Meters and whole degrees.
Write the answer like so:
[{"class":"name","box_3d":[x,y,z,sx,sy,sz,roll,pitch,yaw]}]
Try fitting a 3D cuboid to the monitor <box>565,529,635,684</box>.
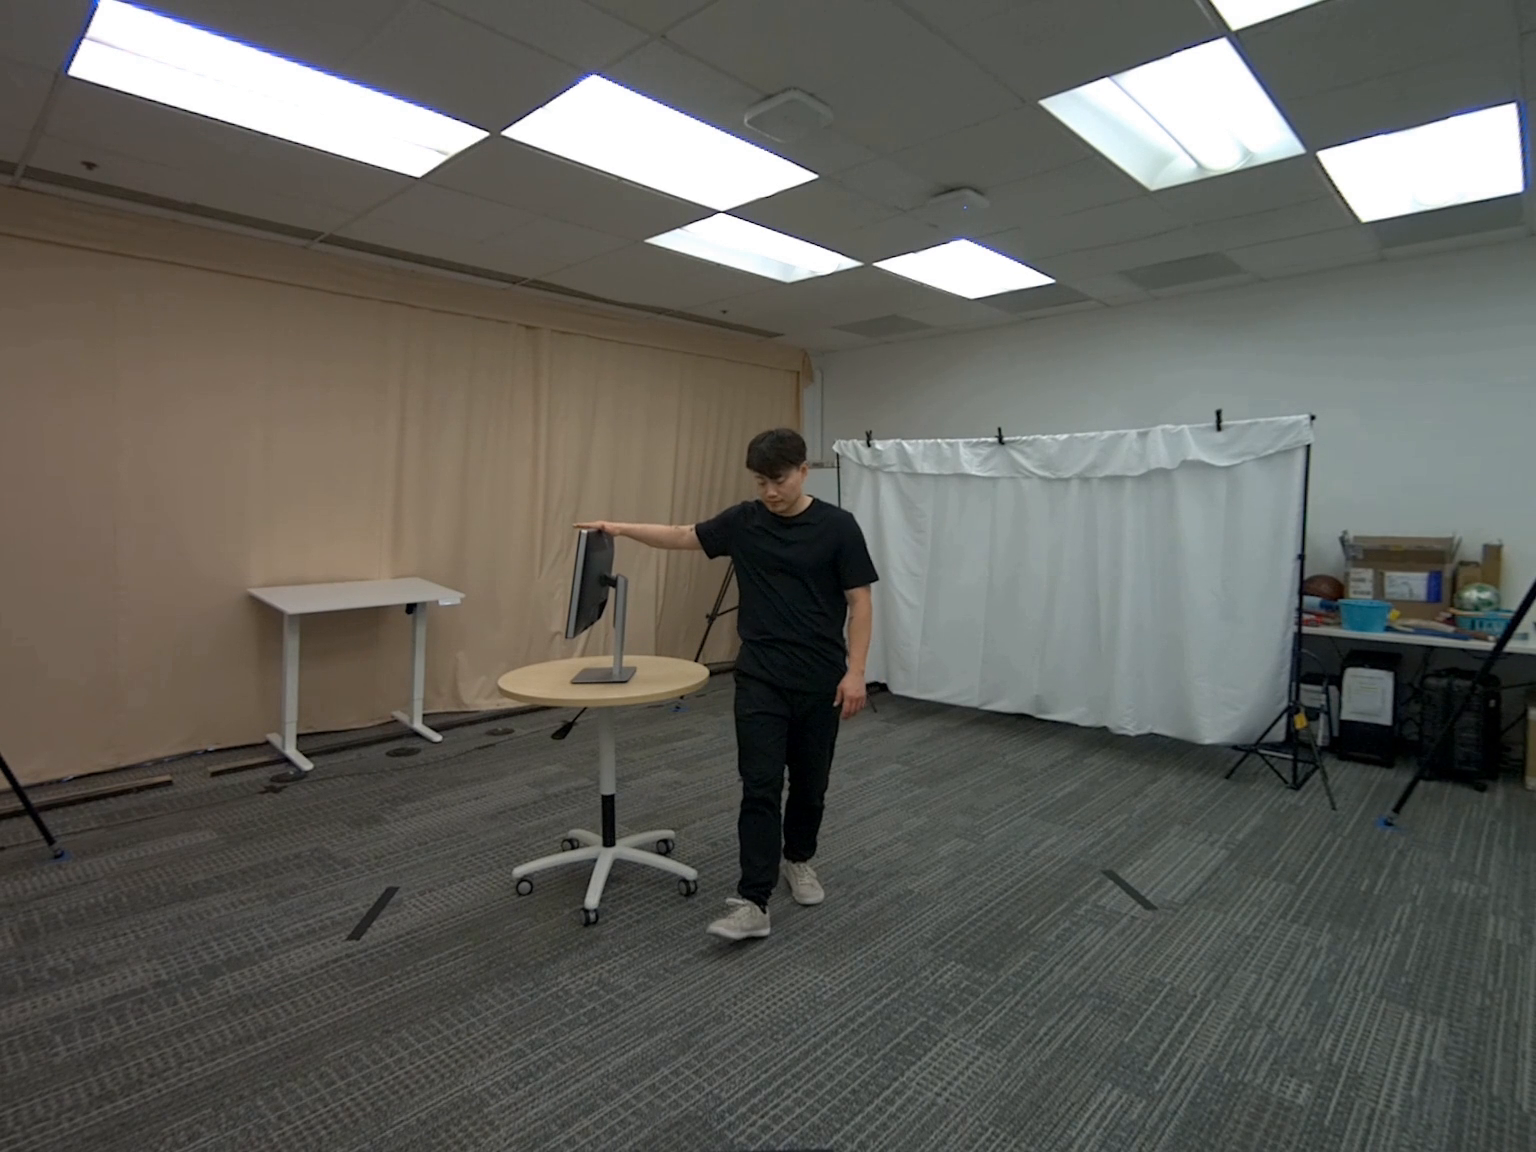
[{"class":"monitor","box_3d":[-0.590,0.103,3.041,0.187,0.522,0.540,-2,3,-1]}]
